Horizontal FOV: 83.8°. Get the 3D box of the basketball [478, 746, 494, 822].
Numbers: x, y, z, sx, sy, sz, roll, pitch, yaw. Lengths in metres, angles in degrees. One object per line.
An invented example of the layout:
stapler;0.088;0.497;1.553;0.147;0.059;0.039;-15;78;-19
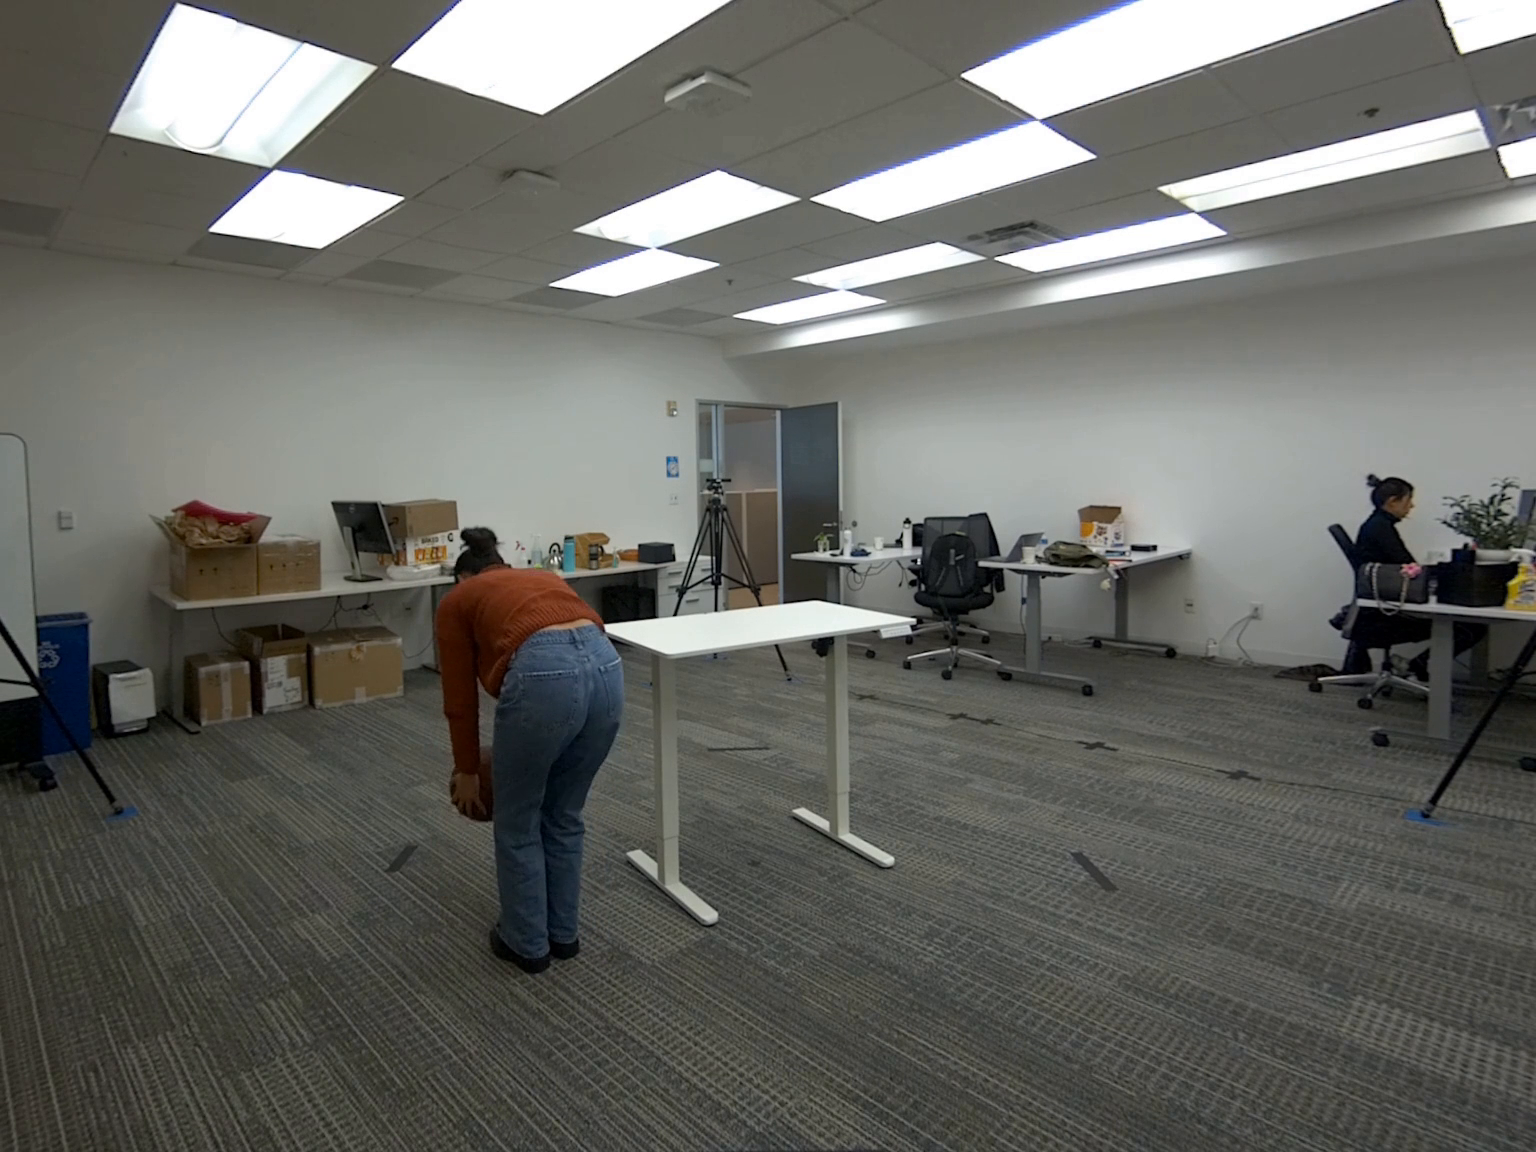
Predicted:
basketball;-0.894;0.661;2.756;0.236;0.235;0.237;-1;5;-2
